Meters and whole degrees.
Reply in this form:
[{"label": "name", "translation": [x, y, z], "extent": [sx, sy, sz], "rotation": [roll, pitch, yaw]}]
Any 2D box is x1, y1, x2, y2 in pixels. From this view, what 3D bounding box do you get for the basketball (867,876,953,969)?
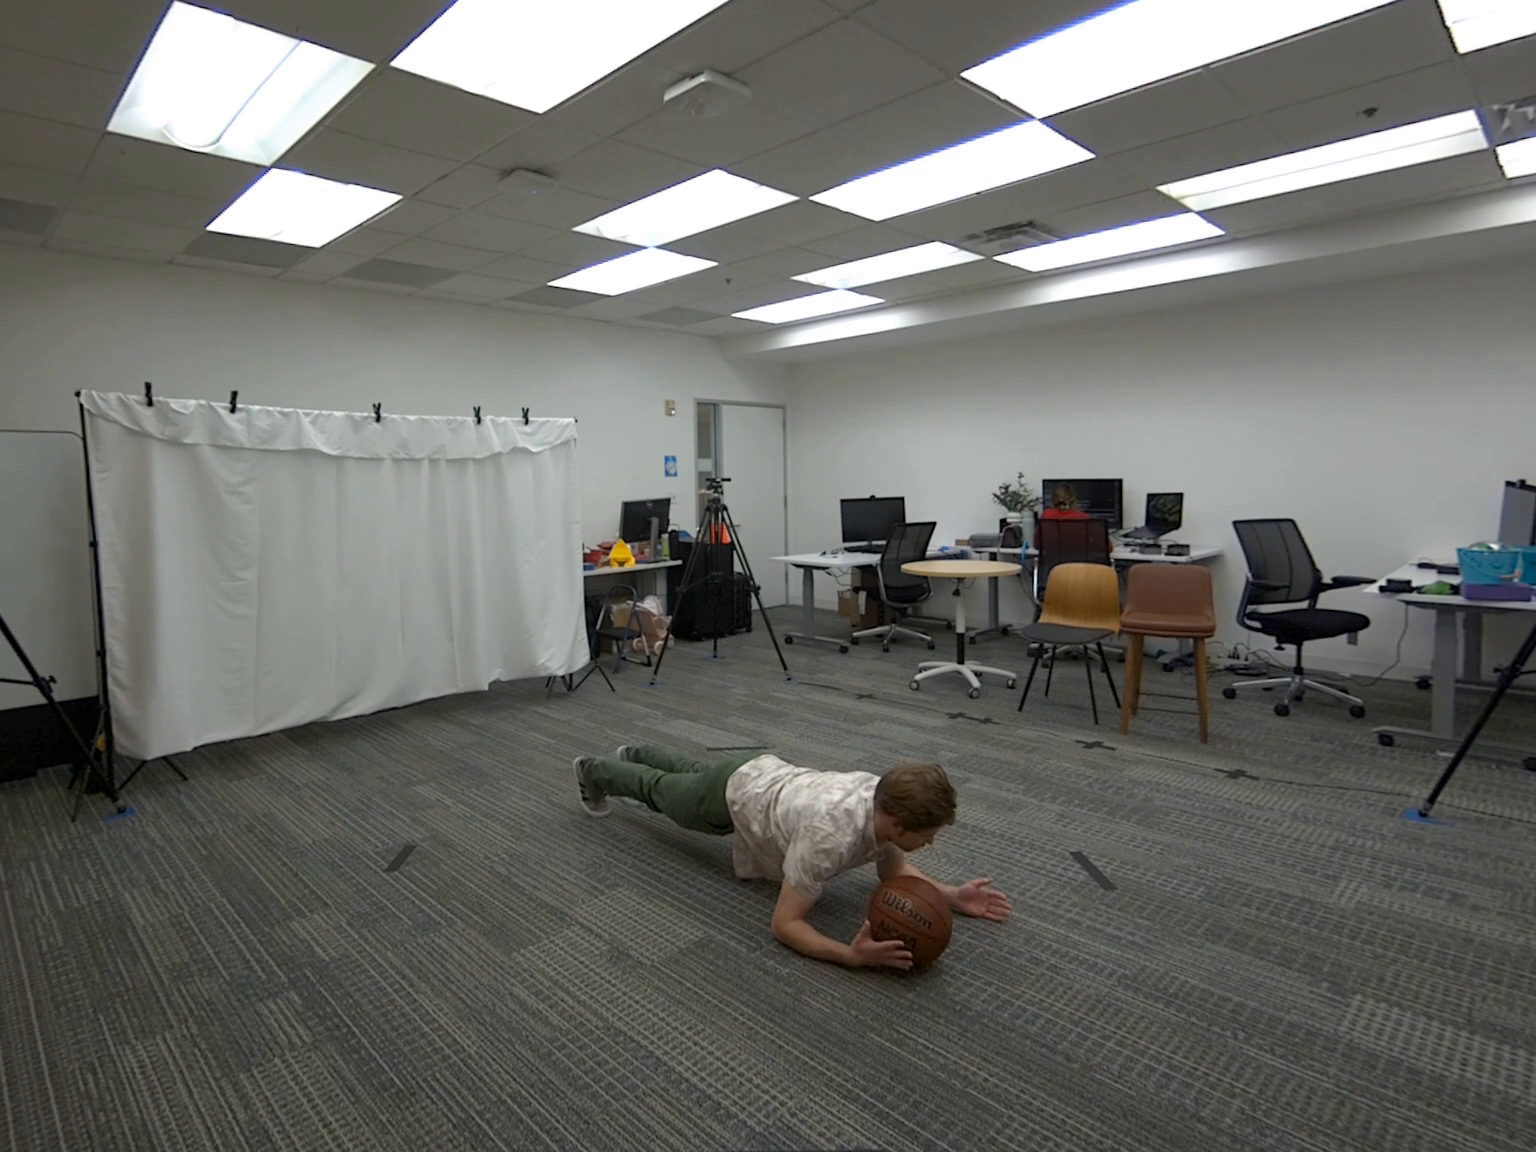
[{"label": "basketball", "translation": [0.415, 0.993, 2.465], "extent": [0.236, 0.235, 0.237], "rotation": [-1, 5, -2]}]
